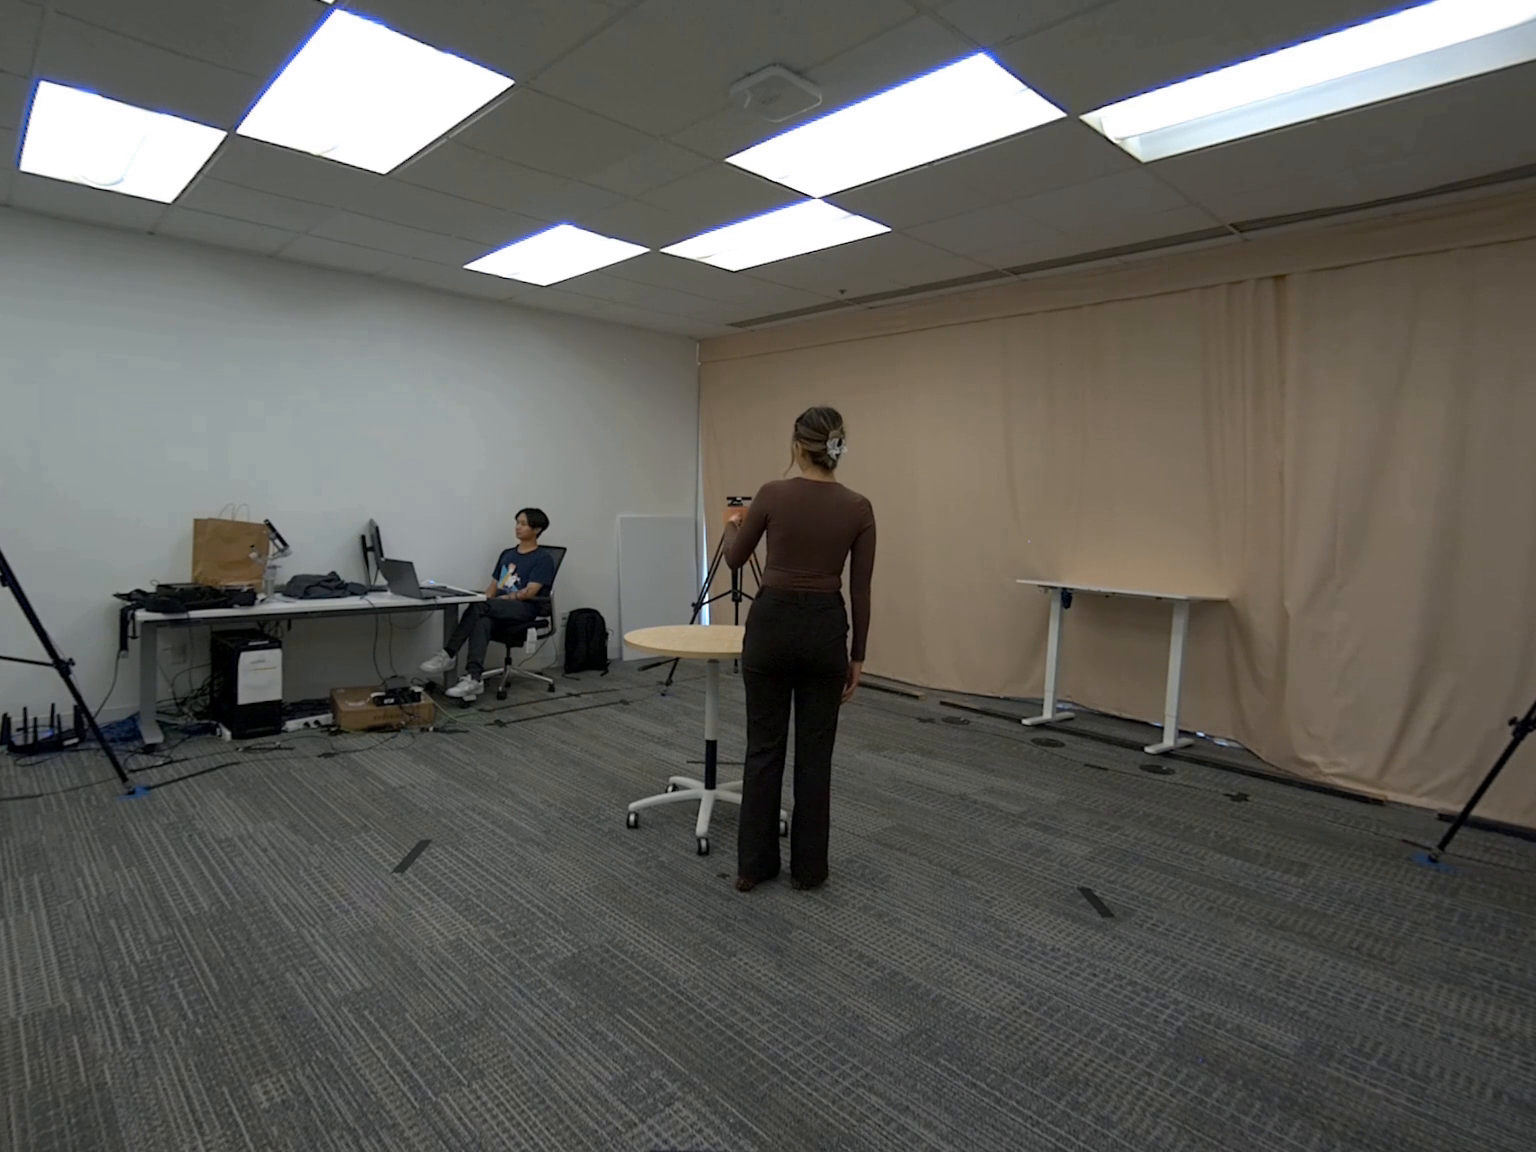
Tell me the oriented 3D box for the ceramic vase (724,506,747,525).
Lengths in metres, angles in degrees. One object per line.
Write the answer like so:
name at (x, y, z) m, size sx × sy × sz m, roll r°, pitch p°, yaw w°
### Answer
ceramic vase at (-0.131, -0.174, 3.483) m, size 0.138 × 0.219 × 0.155 m, roll 6°, pitch 8°, yaw 42°
